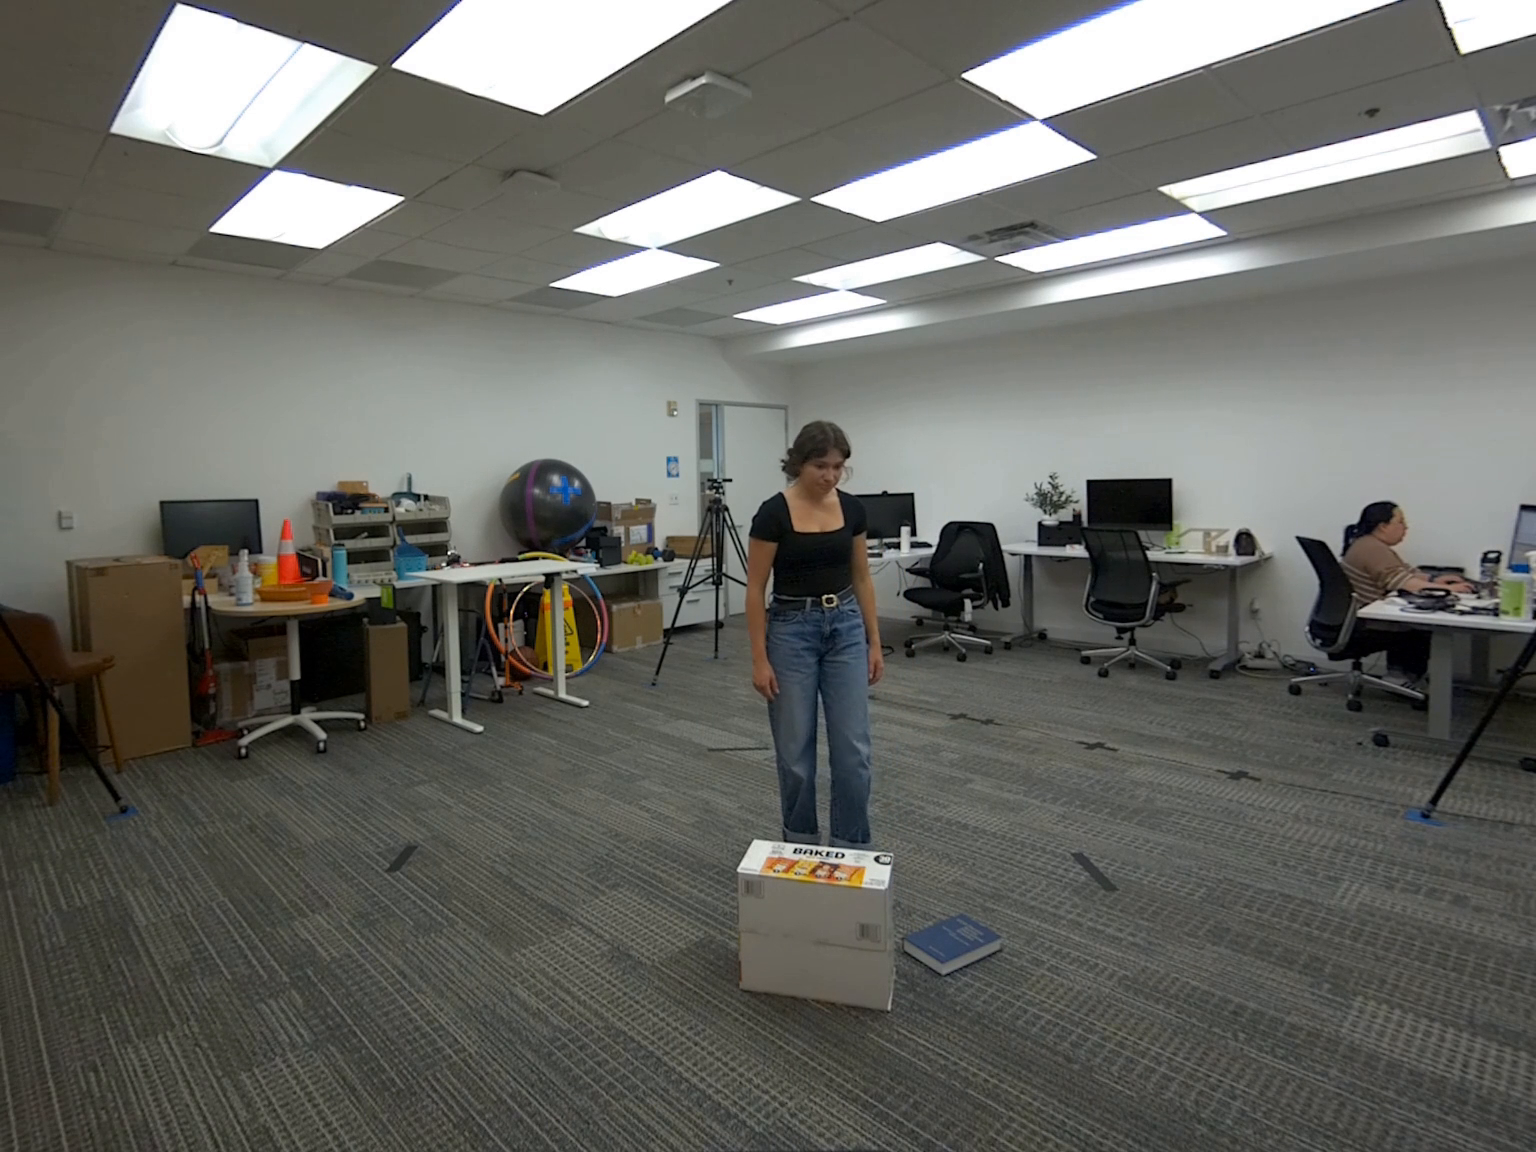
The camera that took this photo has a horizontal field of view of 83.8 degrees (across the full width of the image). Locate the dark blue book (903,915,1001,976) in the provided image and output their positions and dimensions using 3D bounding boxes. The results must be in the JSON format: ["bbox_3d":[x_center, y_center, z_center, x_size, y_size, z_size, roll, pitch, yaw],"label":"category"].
[{"bbox_3d":[0.552,1.085,2.507,0.239,0.045,0.168,-6,8,-33],"label":"dark blue book"}]
